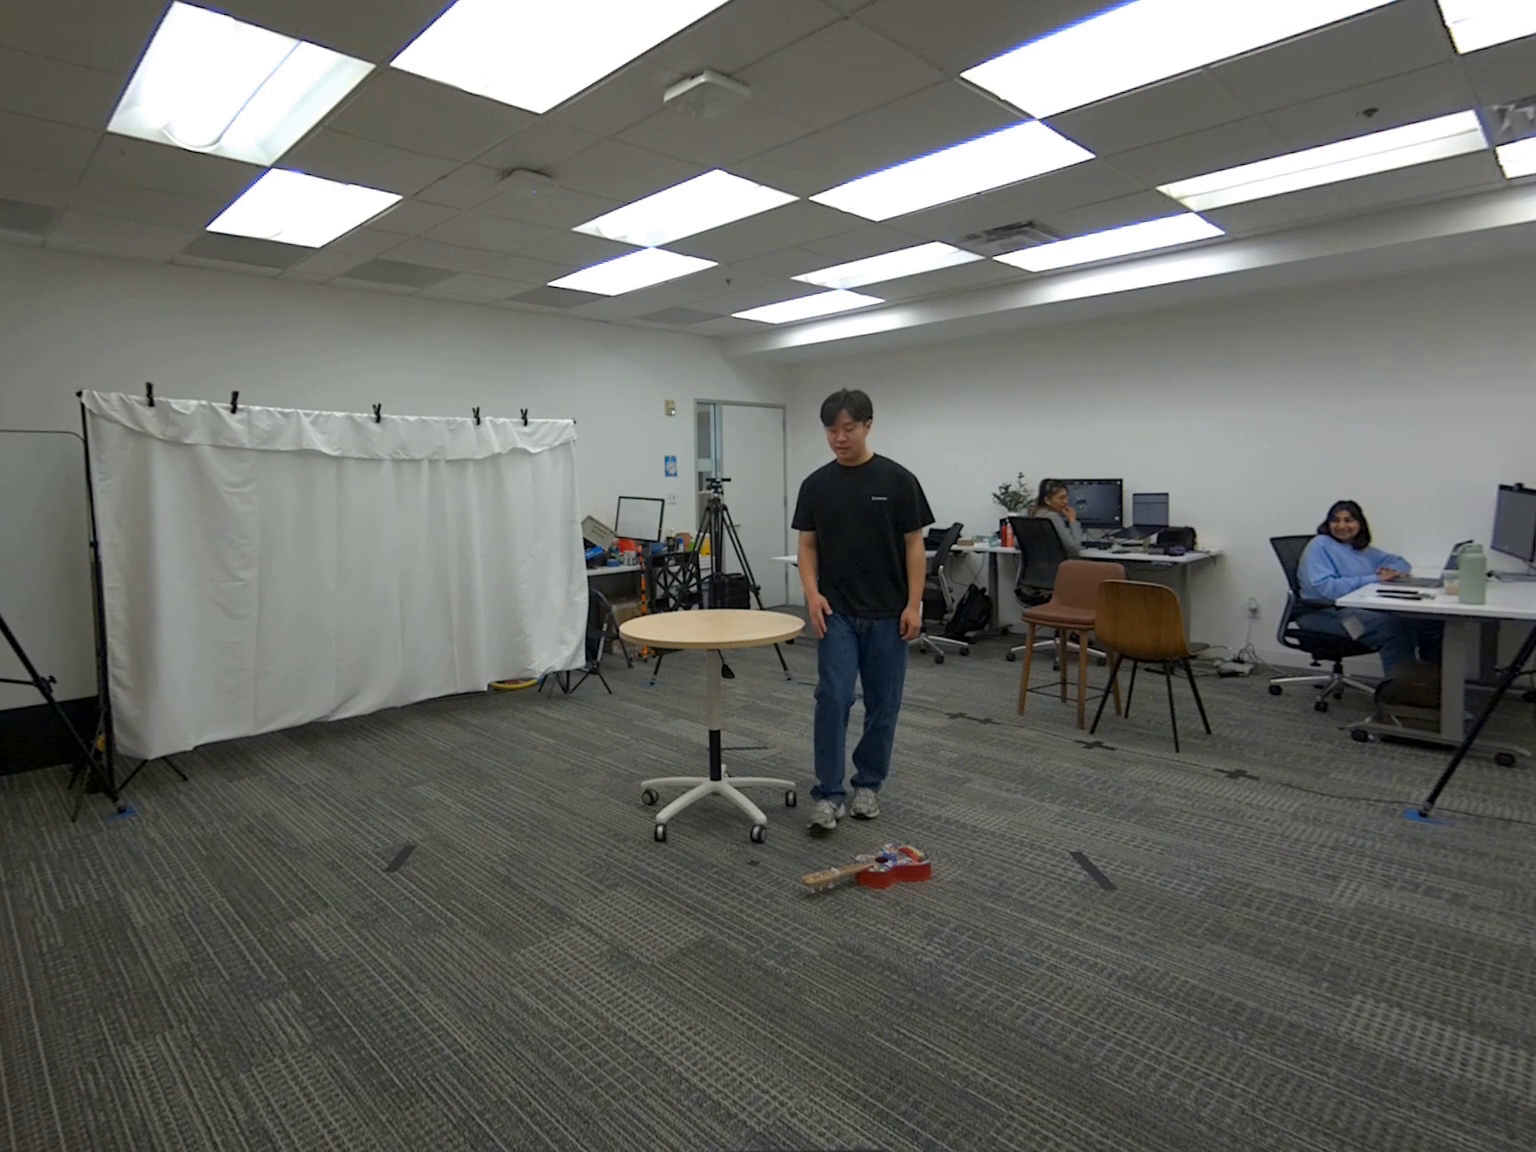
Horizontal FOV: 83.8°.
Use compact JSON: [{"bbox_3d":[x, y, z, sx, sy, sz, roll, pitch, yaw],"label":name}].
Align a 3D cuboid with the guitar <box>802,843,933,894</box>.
[{"bbox_3d":[0.324,1.018,2.970,0.489,0.070,0.197,-3,7,-19],"label":"guitar"}]
